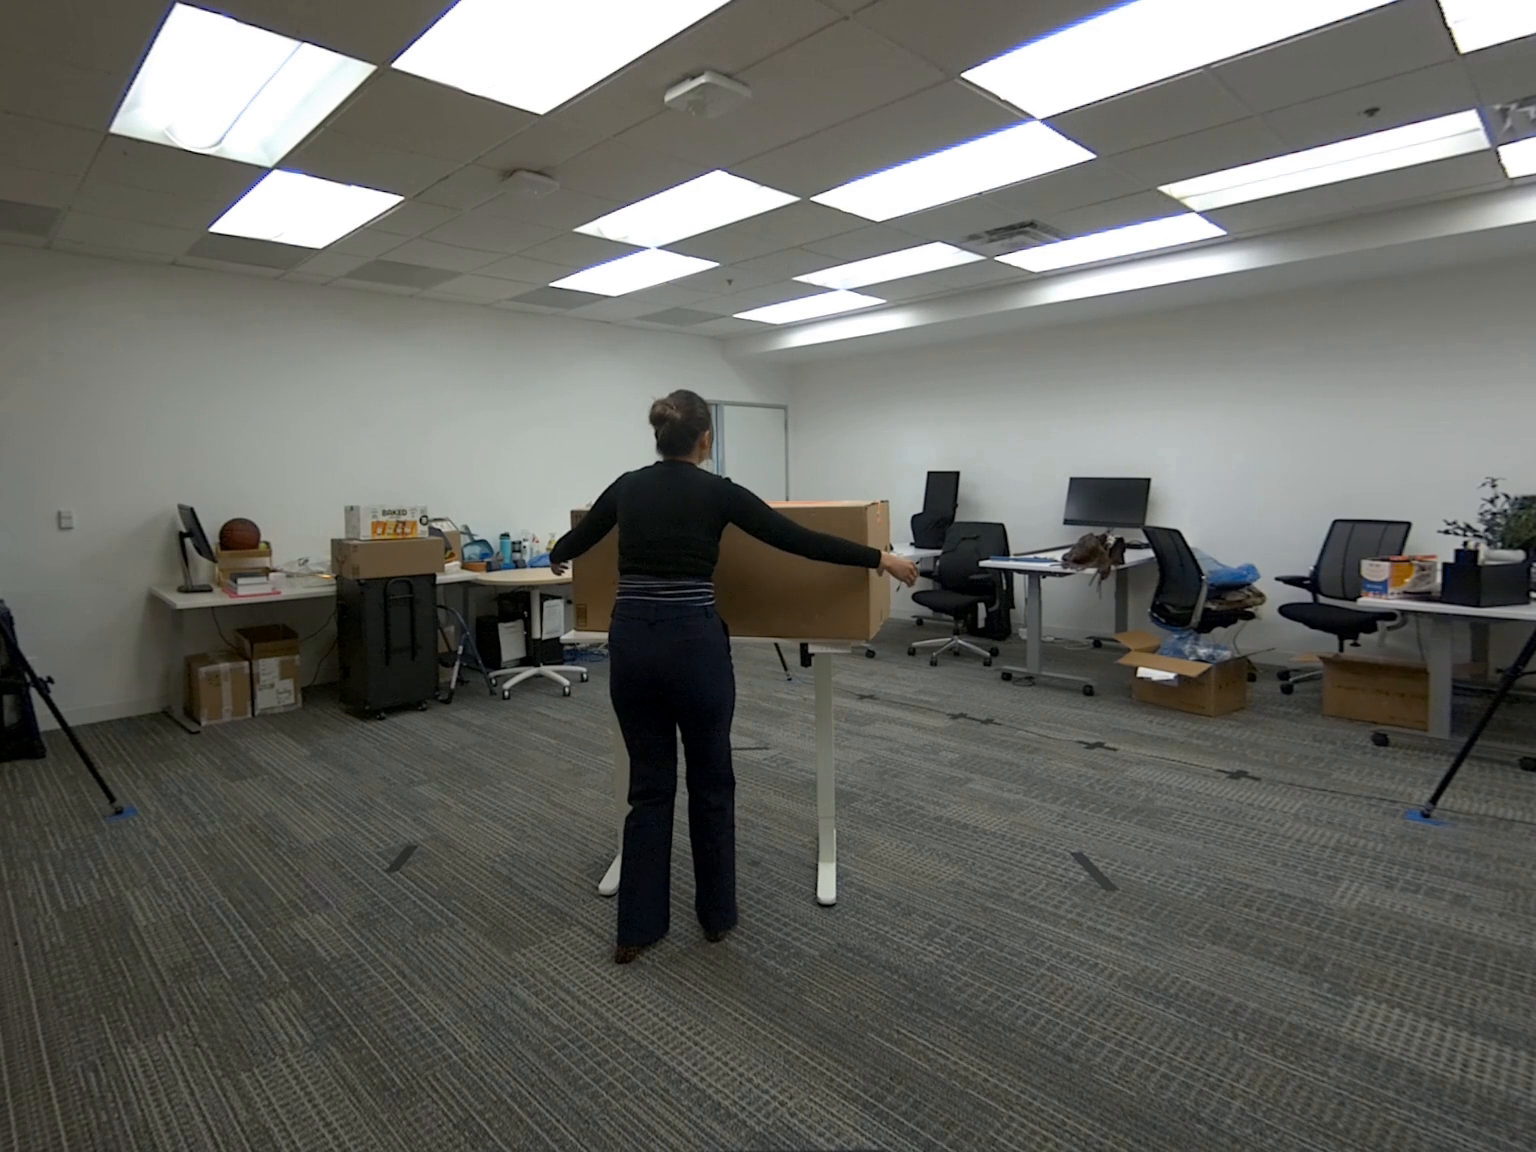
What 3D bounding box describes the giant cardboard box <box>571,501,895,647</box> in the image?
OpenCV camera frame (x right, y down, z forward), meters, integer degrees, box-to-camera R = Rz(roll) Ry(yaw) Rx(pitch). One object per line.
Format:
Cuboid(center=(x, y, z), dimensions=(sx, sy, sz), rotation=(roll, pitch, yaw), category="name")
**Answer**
Cuboid(center=(-0.112, -0.047, 3.062), dimensions=(1.043, 0.424, 0.570), rotation=(0, 5, 18), category="giant cardboard box")
